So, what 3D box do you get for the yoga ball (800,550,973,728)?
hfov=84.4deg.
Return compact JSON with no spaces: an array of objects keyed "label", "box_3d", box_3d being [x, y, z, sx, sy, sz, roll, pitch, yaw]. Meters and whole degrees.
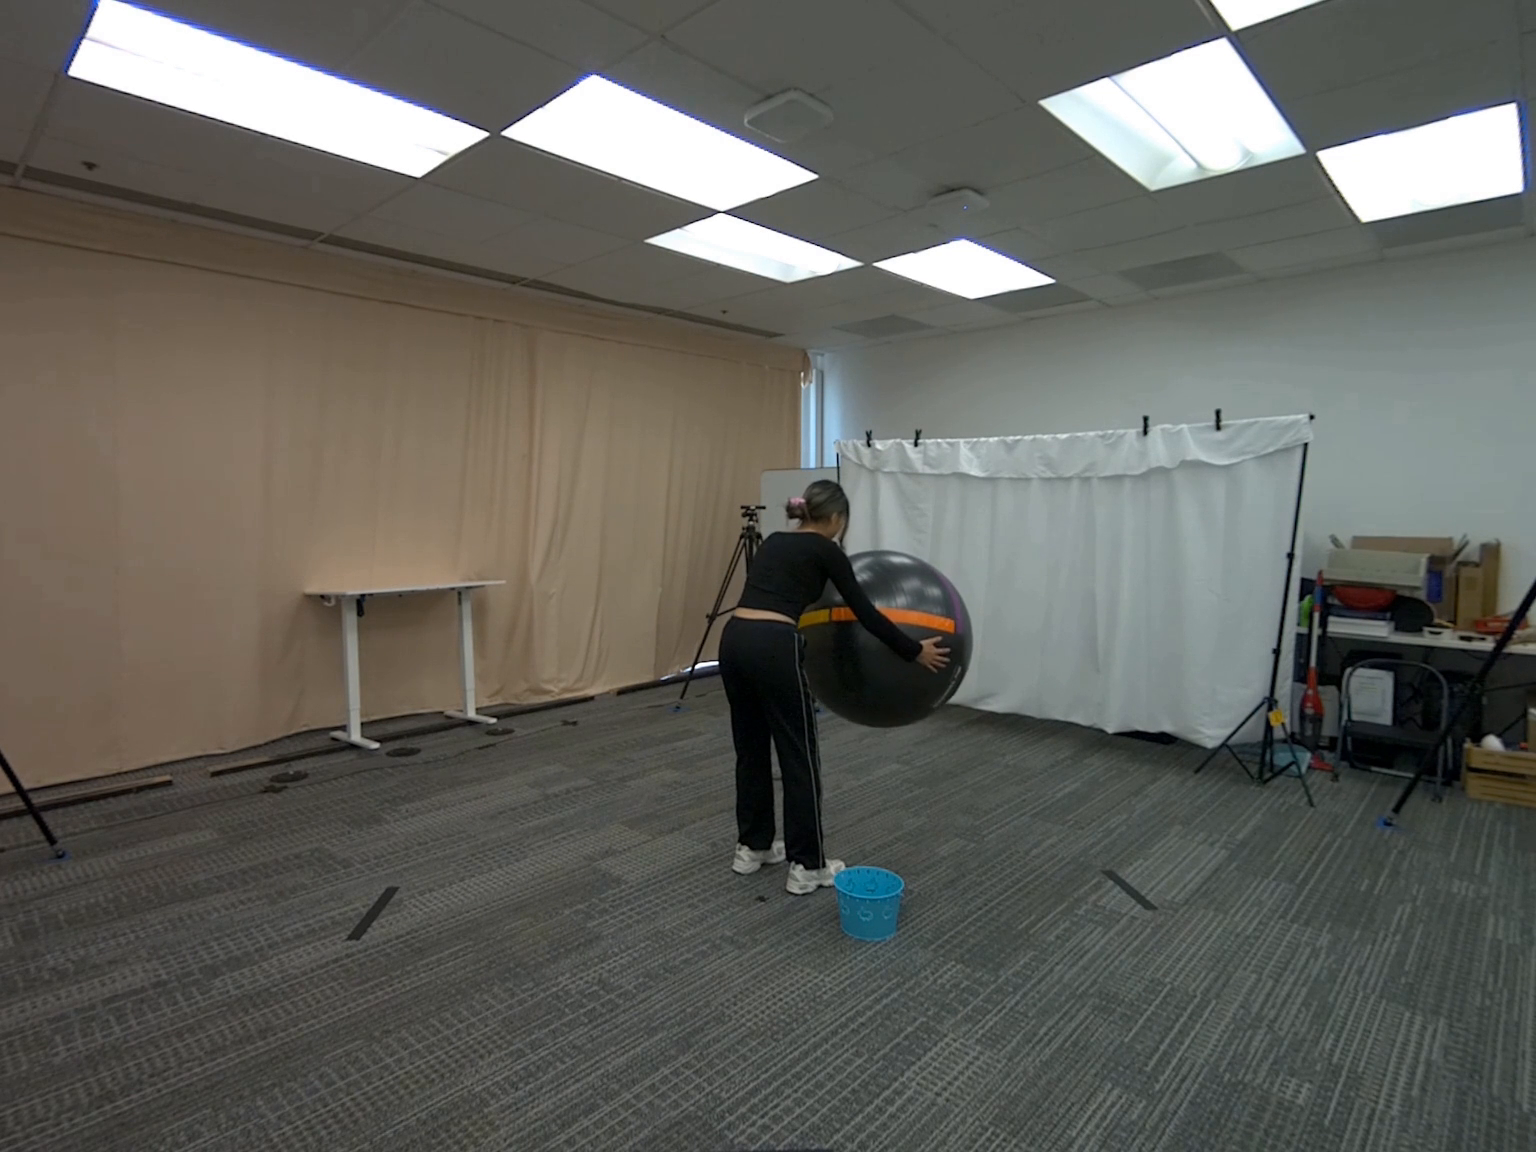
[{"label":"yoga ball","box_3d":[0.503,0.270,3.639,0.757,0.756,0.760,0,4,-2]}]
